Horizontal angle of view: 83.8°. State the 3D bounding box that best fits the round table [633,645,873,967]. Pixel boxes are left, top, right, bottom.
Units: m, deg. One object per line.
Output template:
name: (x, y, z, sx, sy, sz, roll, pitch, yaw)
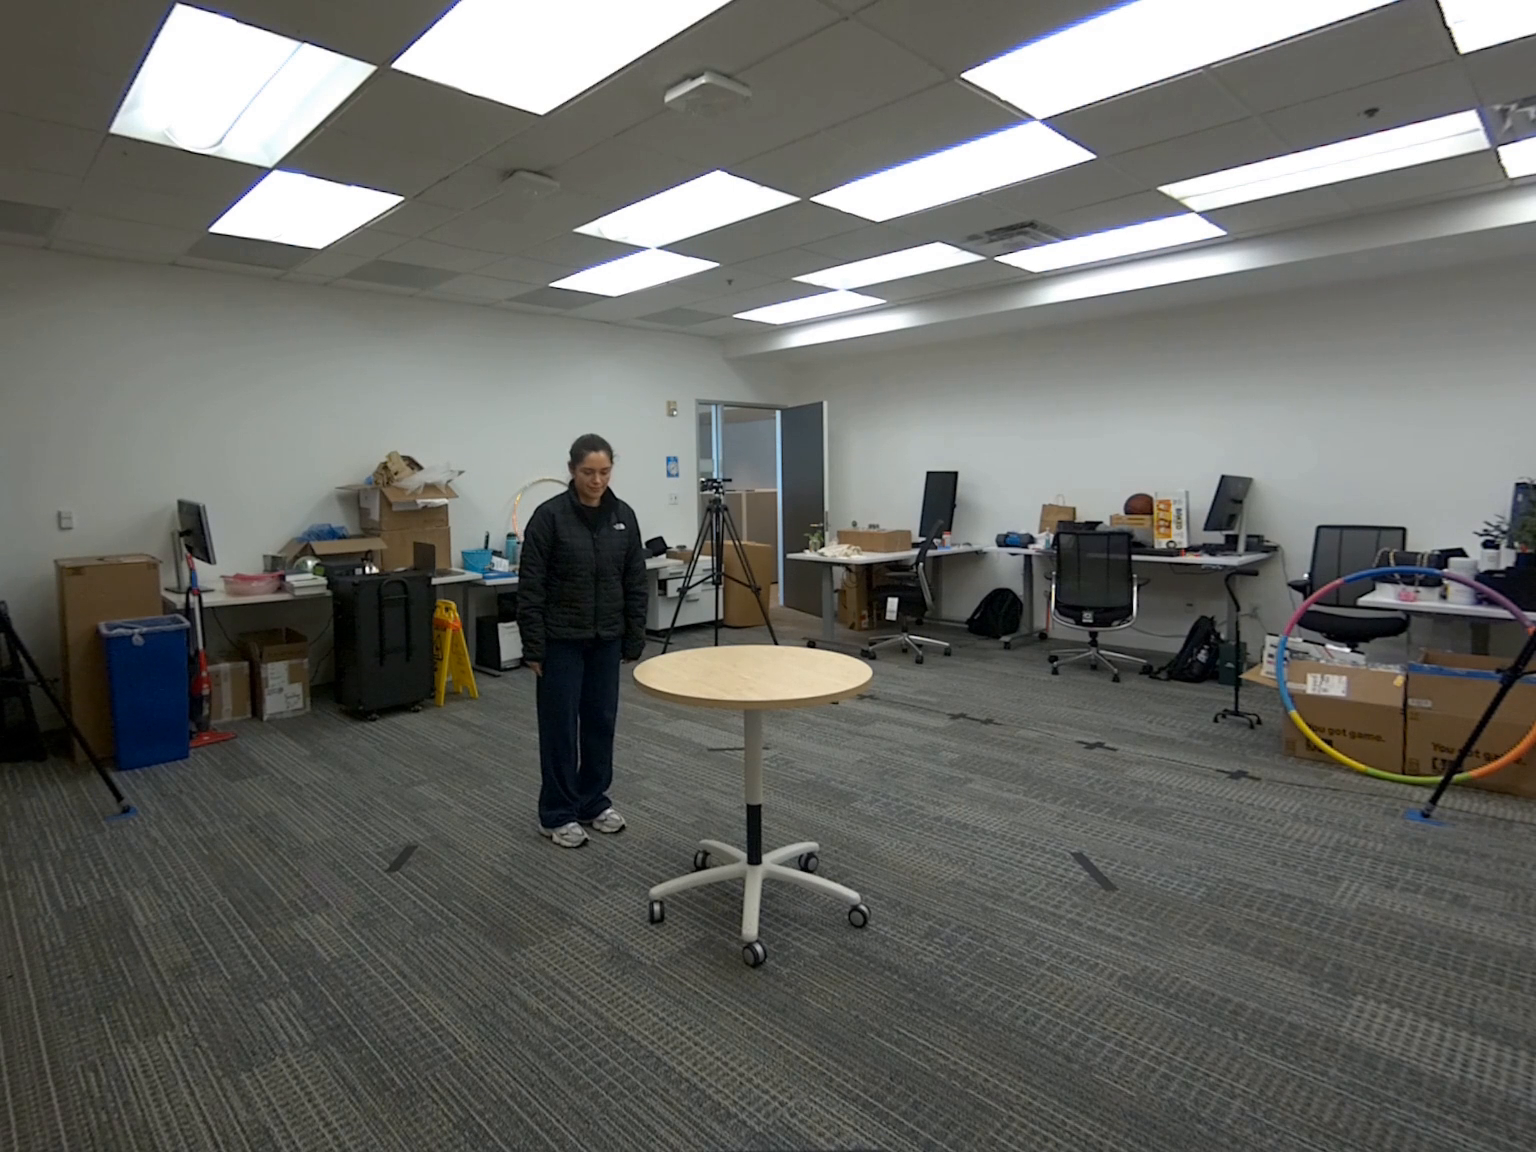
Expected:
round table: (-0.059, 0.687, 2.795, 0.784, 0.783, 0.789, 0, 5, -2)
